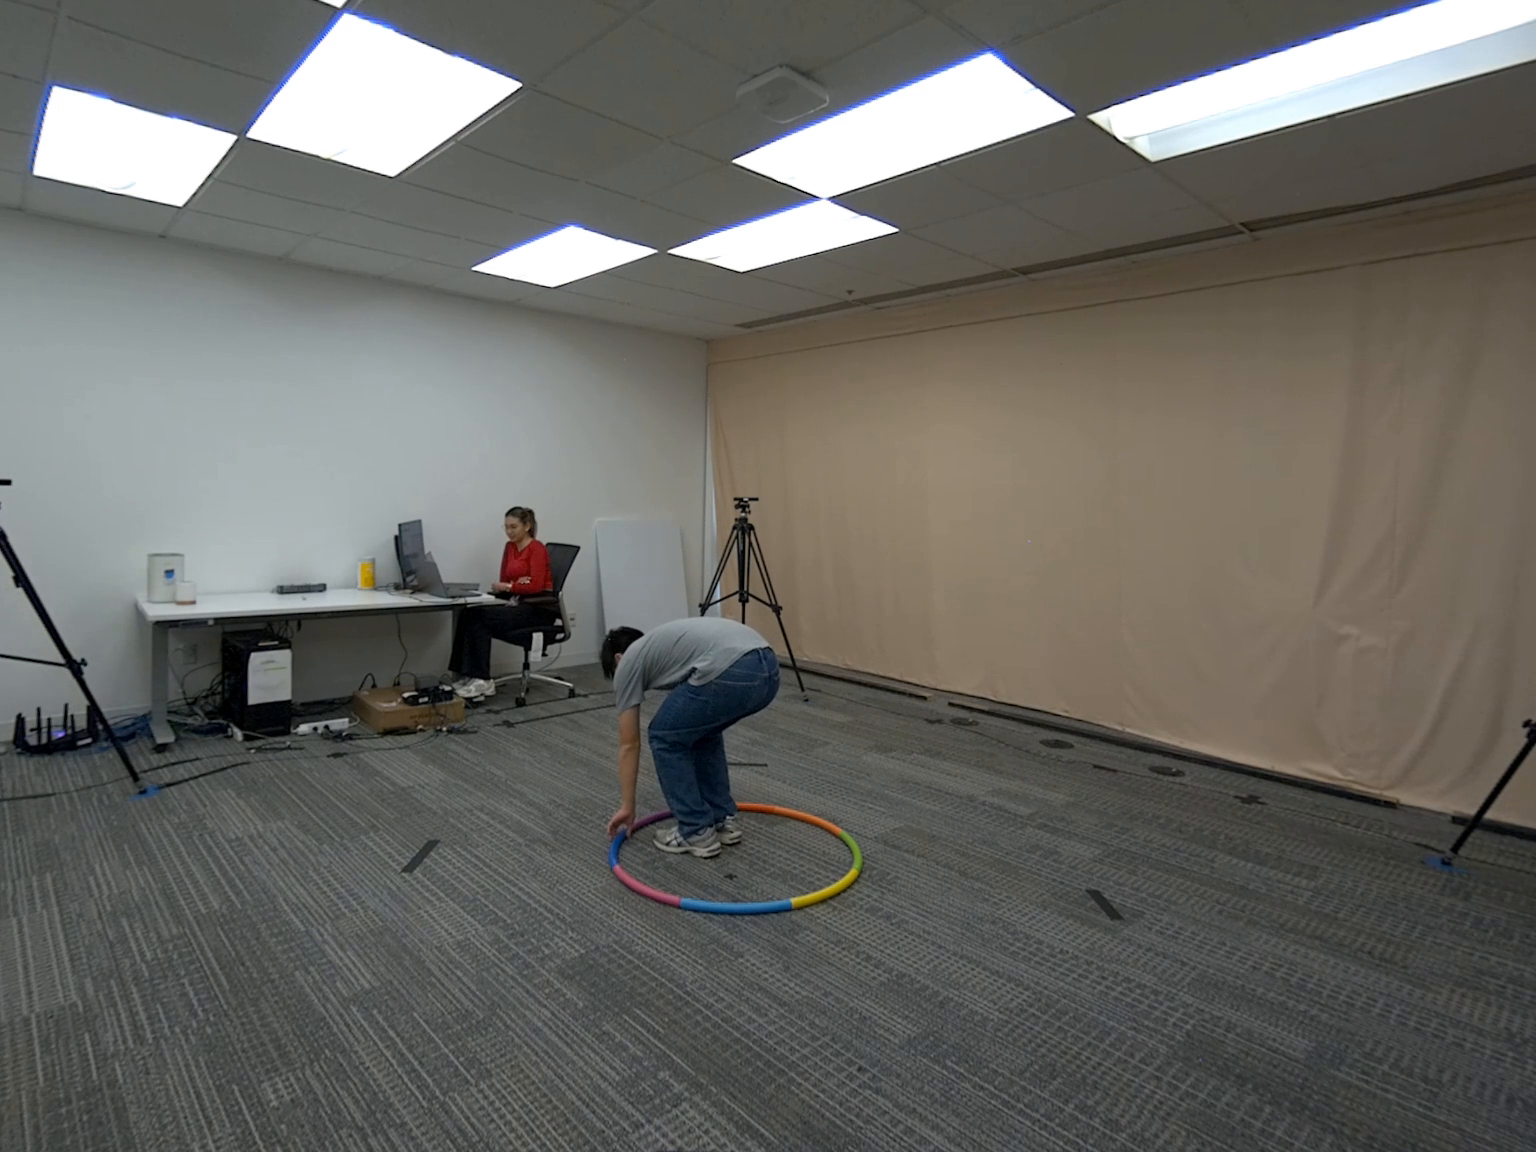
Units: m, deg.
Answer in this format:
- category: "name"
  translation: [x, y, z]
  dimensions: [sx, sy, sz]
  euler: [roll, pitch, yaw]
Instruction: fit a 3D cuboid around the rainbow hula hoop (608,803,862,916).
- category: "rainbow hula hoop"
  translation: [-0.143, 1.056, 3.299]
  dimensions: [0.978, 0.035, 0.982]
  euler: [1, 5, -1]
